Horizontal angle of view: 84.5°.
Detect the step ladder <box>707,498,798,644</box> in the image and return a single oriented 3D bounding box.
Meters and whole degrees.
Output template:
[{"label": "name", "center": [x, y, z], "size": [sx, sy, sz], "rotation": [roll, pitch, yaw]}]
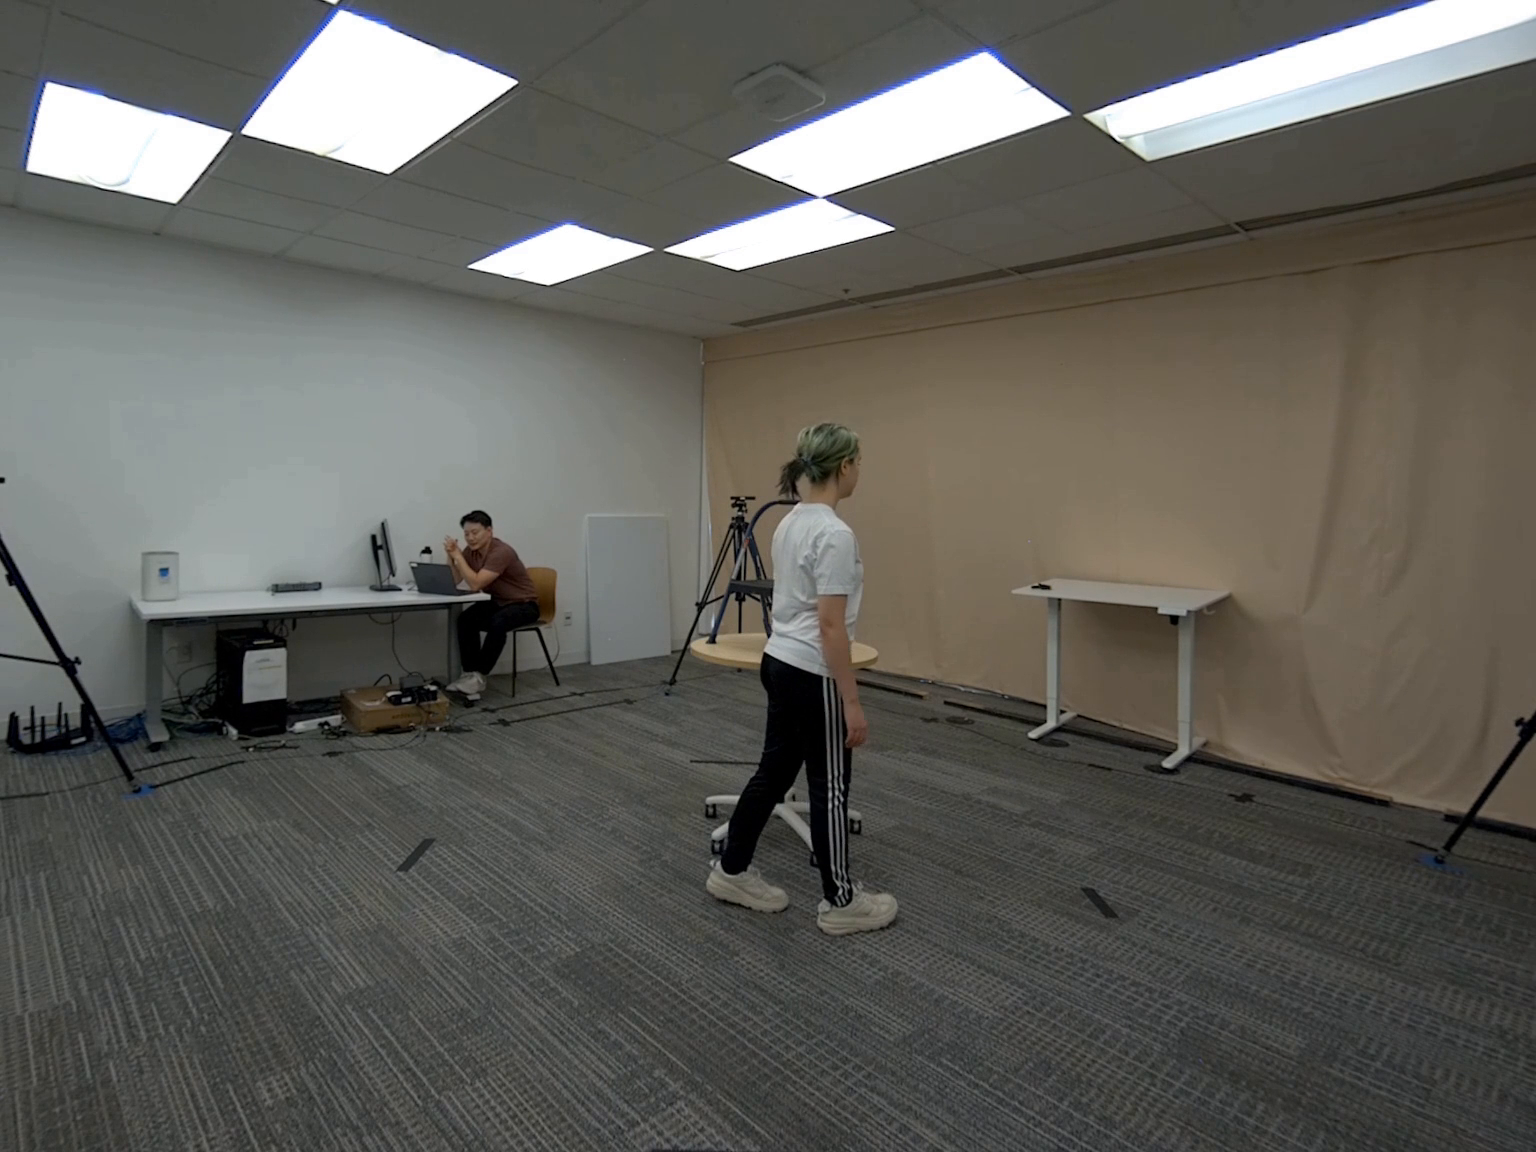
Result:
[{"label": "step ladder", "center": [0.012, -0.005, 3.421], "size": [0.341, 0.605, 0.441], "rotation": [-1, 4, -38]}]
